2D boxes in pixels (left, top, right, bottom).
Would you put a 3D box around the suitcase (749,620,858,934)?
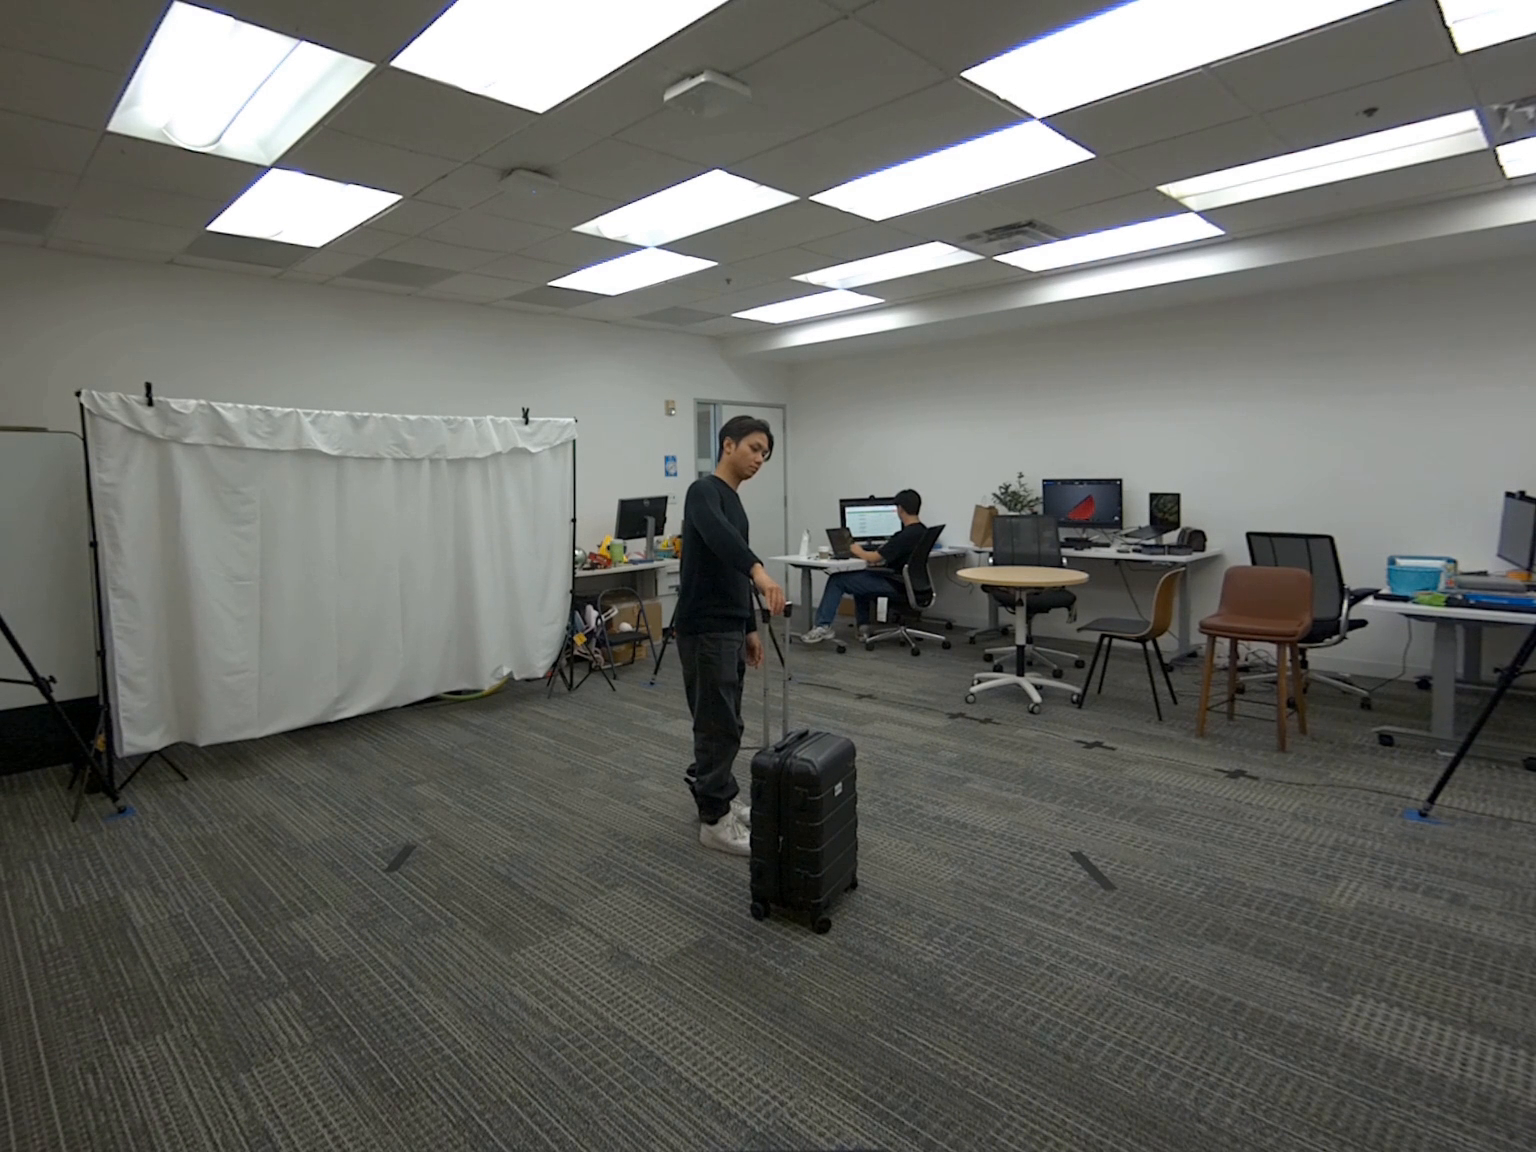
[{"bbox_3d":[0.135,0.602,2.769,0.264,0.974,0.376,4,6,27],"label":"suitcase"}]
